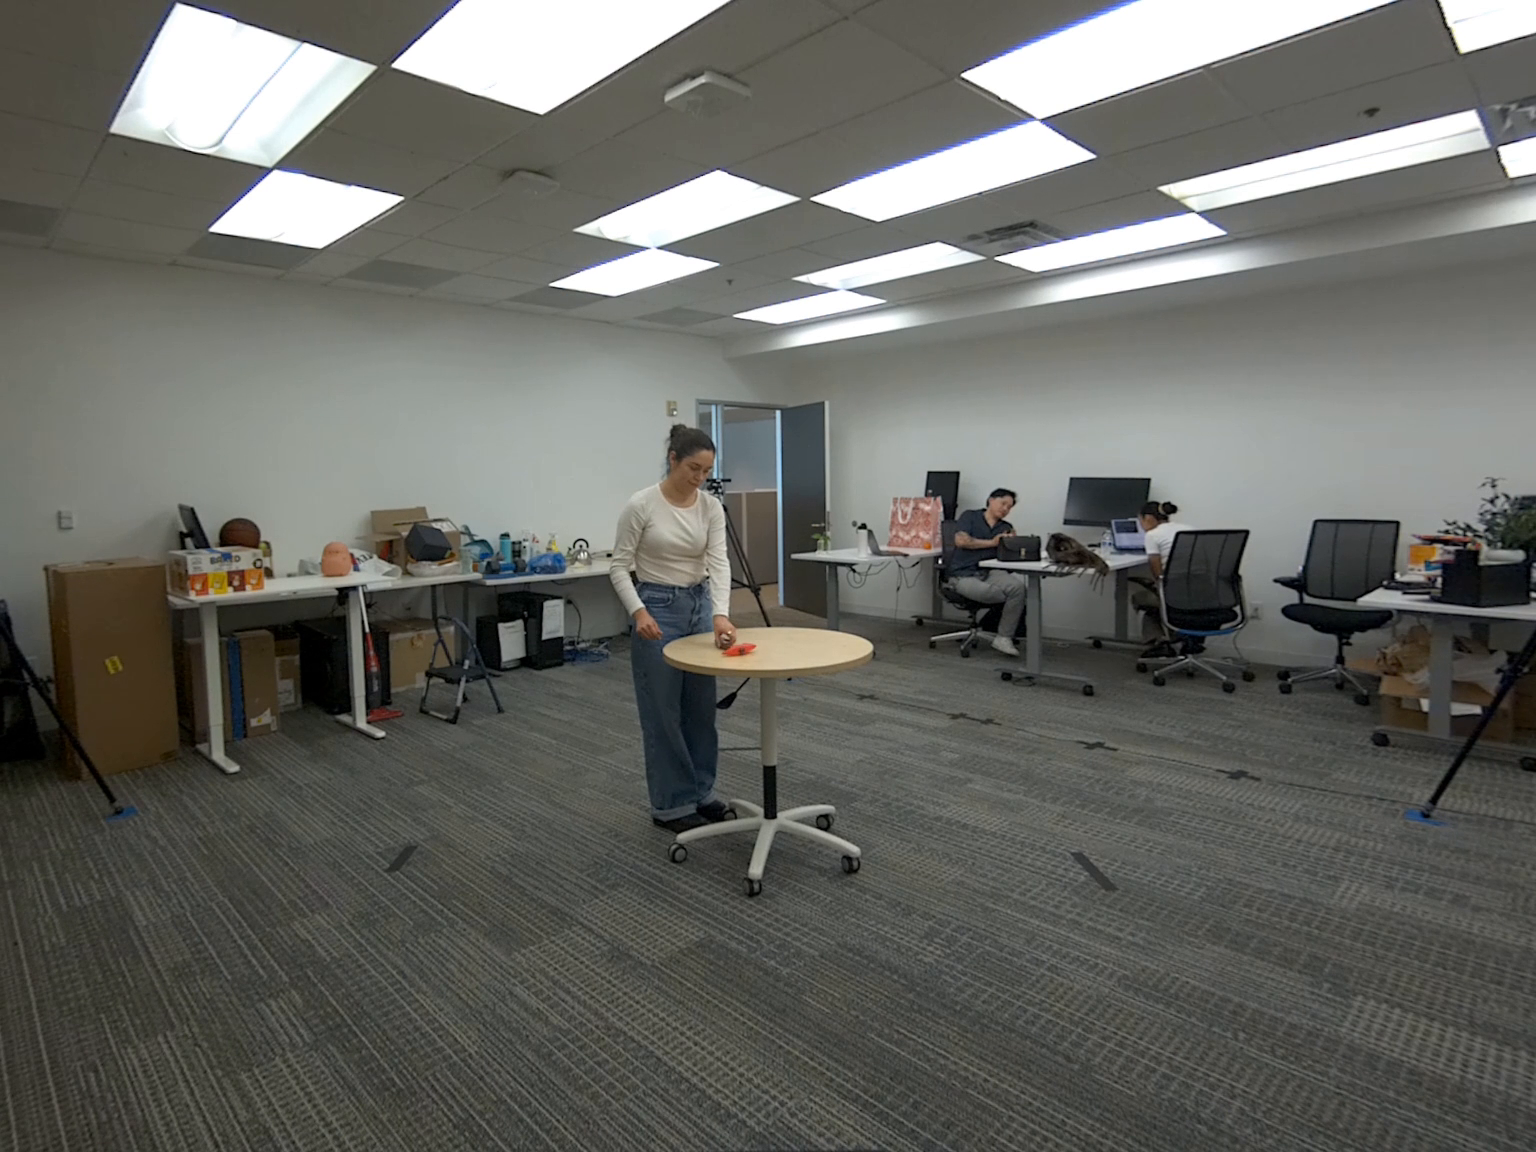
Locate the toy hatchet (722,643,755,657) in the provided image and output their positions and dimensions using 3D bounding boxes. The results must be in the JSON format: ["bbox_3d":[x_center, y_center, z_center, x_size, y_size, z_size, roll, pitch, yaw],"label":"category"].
[{"bbox_3d":[-0.111,0.249,3.109,0.130,0.029,0.273,-11,8,-8],"label":"toy hatchet"}]
